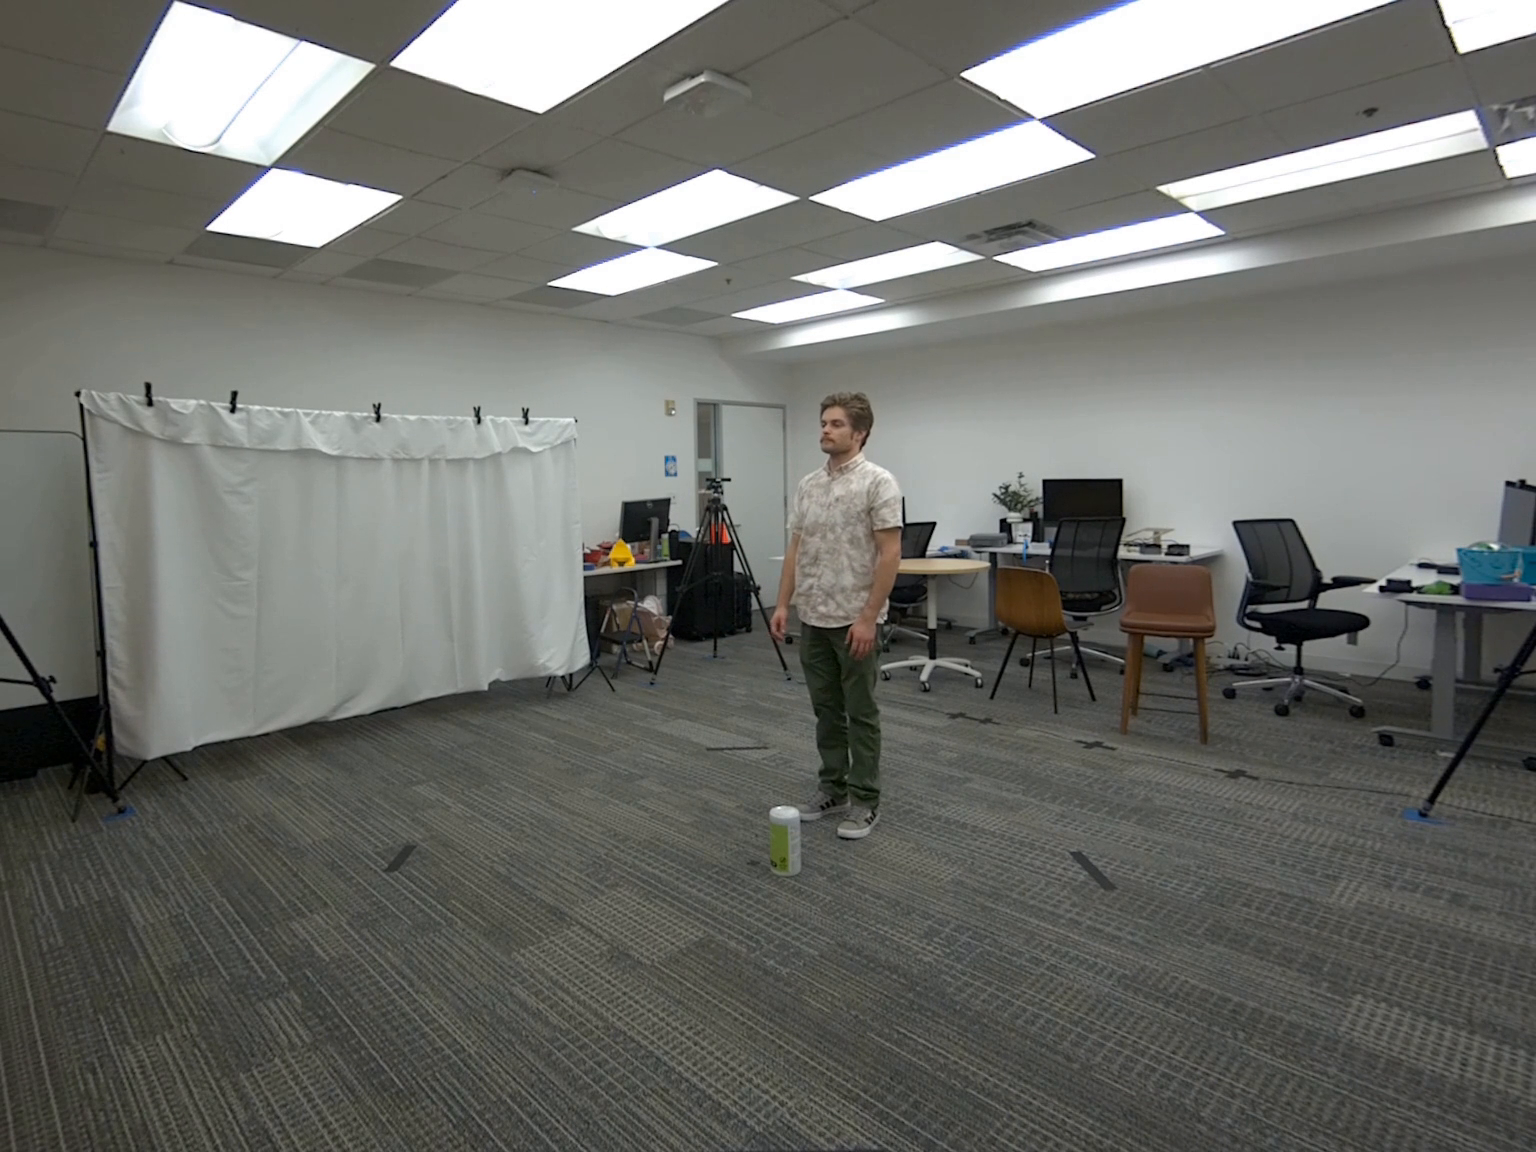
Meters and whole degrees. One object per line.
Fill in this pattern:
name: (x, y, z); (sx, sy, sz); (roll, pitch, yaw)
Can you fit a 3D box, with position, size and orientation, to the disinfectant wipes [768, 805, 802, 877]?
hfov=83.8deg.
disinfectant wipes: (0.067, 0.944, 3.032); (0.118, 0.216, 0.118); (-2, 5, -1)
